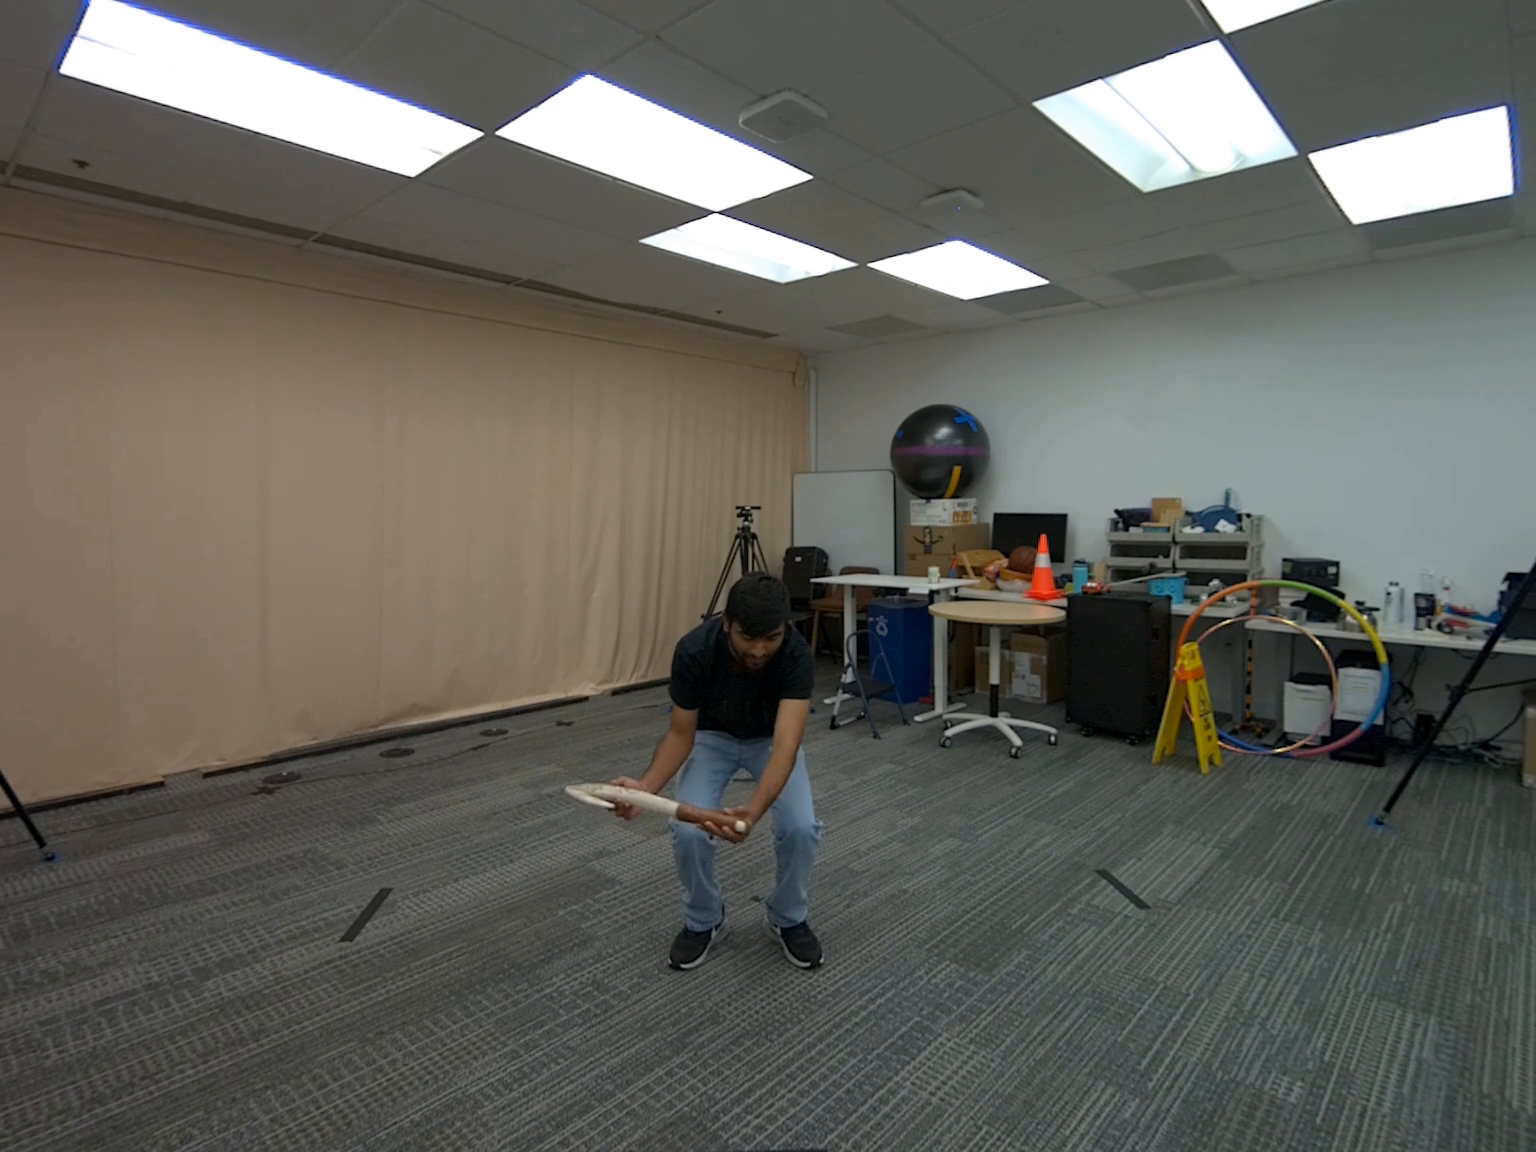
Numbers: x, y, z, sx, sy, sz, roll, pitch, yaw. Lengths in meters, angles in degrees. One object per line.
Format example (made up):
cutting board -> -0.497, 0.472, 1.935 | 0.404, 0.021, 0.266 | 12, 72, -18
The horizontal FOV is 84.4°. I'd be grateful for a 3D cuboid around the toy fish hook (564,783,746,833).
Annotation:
toy fish hook -> -0.271, 0.583, 2.100 | 0.522, 0.048, 0.217 | 3, -6, 33
